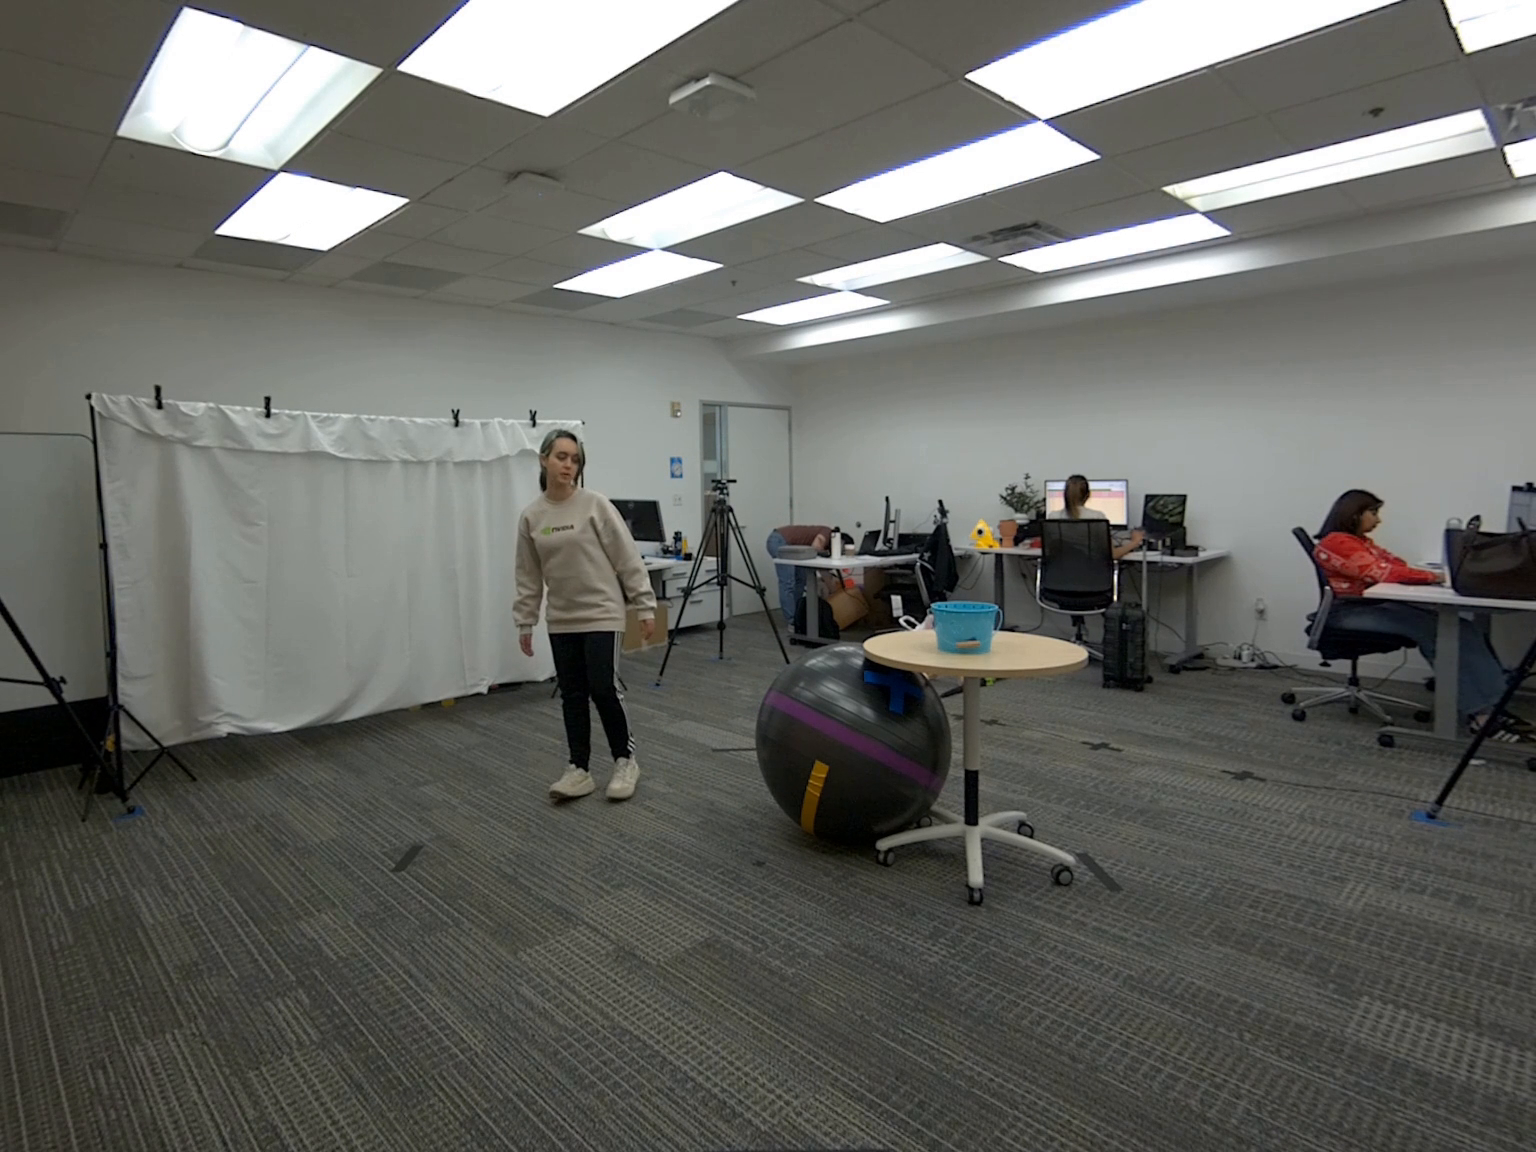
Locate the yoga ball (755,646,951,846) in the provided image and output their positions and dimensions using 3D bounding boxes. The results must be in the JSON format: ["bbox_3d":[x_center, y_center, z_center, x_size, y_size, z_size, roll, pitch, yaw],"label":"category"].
[{"bbox_3d":[0.335,0.643,3.345,0.757,0.755,0.762,-1,5,-2],"label":"yoga ball"}]
